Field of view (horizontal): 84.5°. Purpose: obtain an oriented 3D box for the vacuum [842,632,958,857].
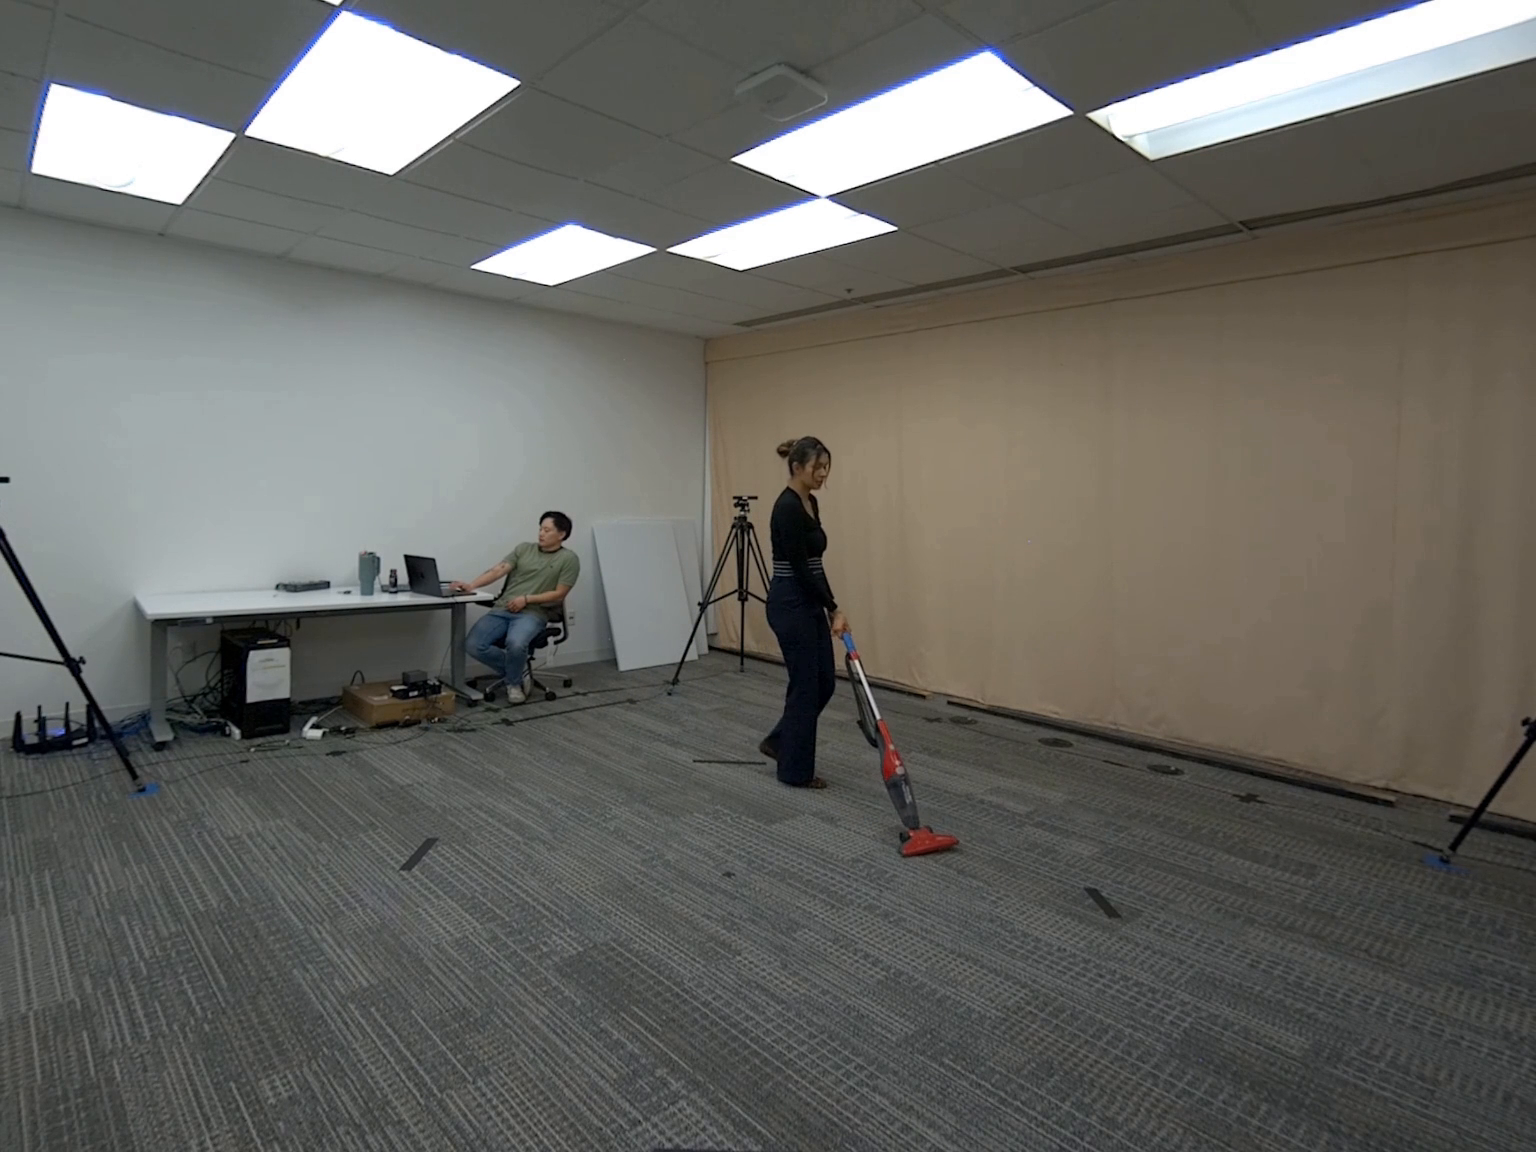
[{"bbox_3d":[0.471,0.666,3.675,0.247,1.077,0.143,1,-39,-27],"label":"vacuum"}]
